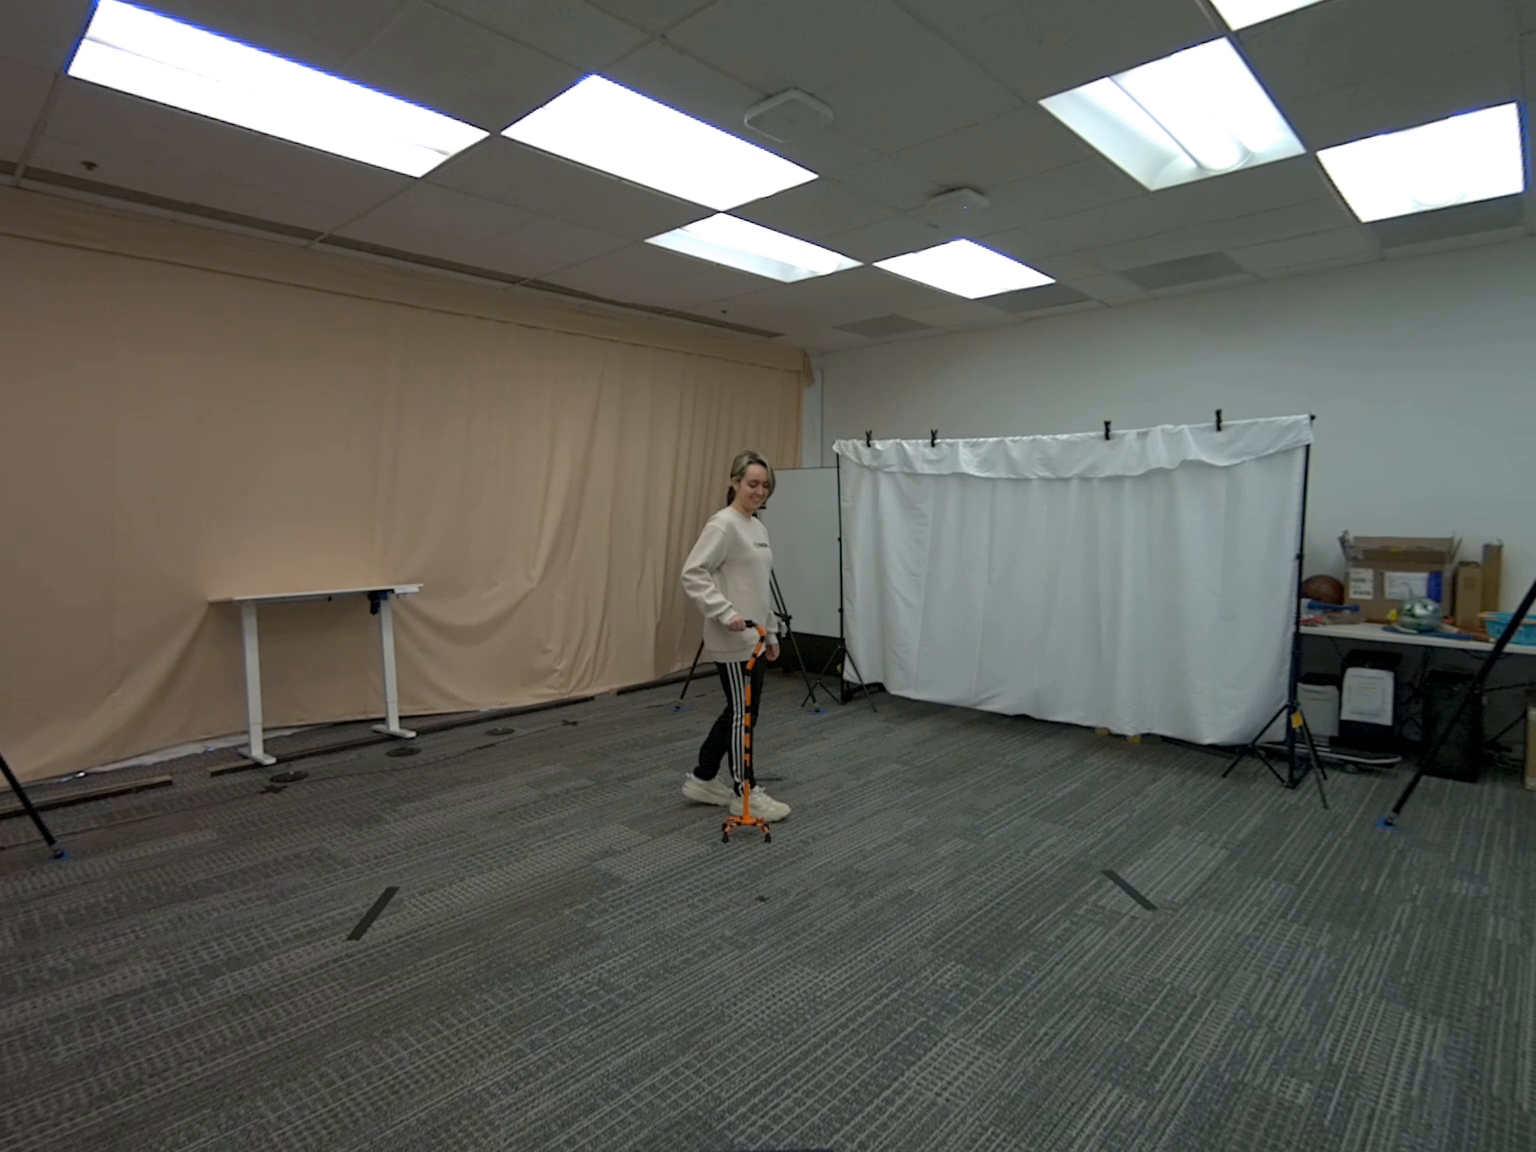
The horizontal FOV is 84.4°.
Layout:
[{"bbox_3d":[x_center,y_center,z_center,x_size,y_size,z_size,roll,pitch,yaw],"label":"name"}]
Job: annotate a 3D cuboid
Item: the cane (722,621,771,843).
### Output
[{"bbox_3d":[-0.079,0.634,3.517,0.205,0.906,0.152,1,3,-5],"label":"cane"}]
